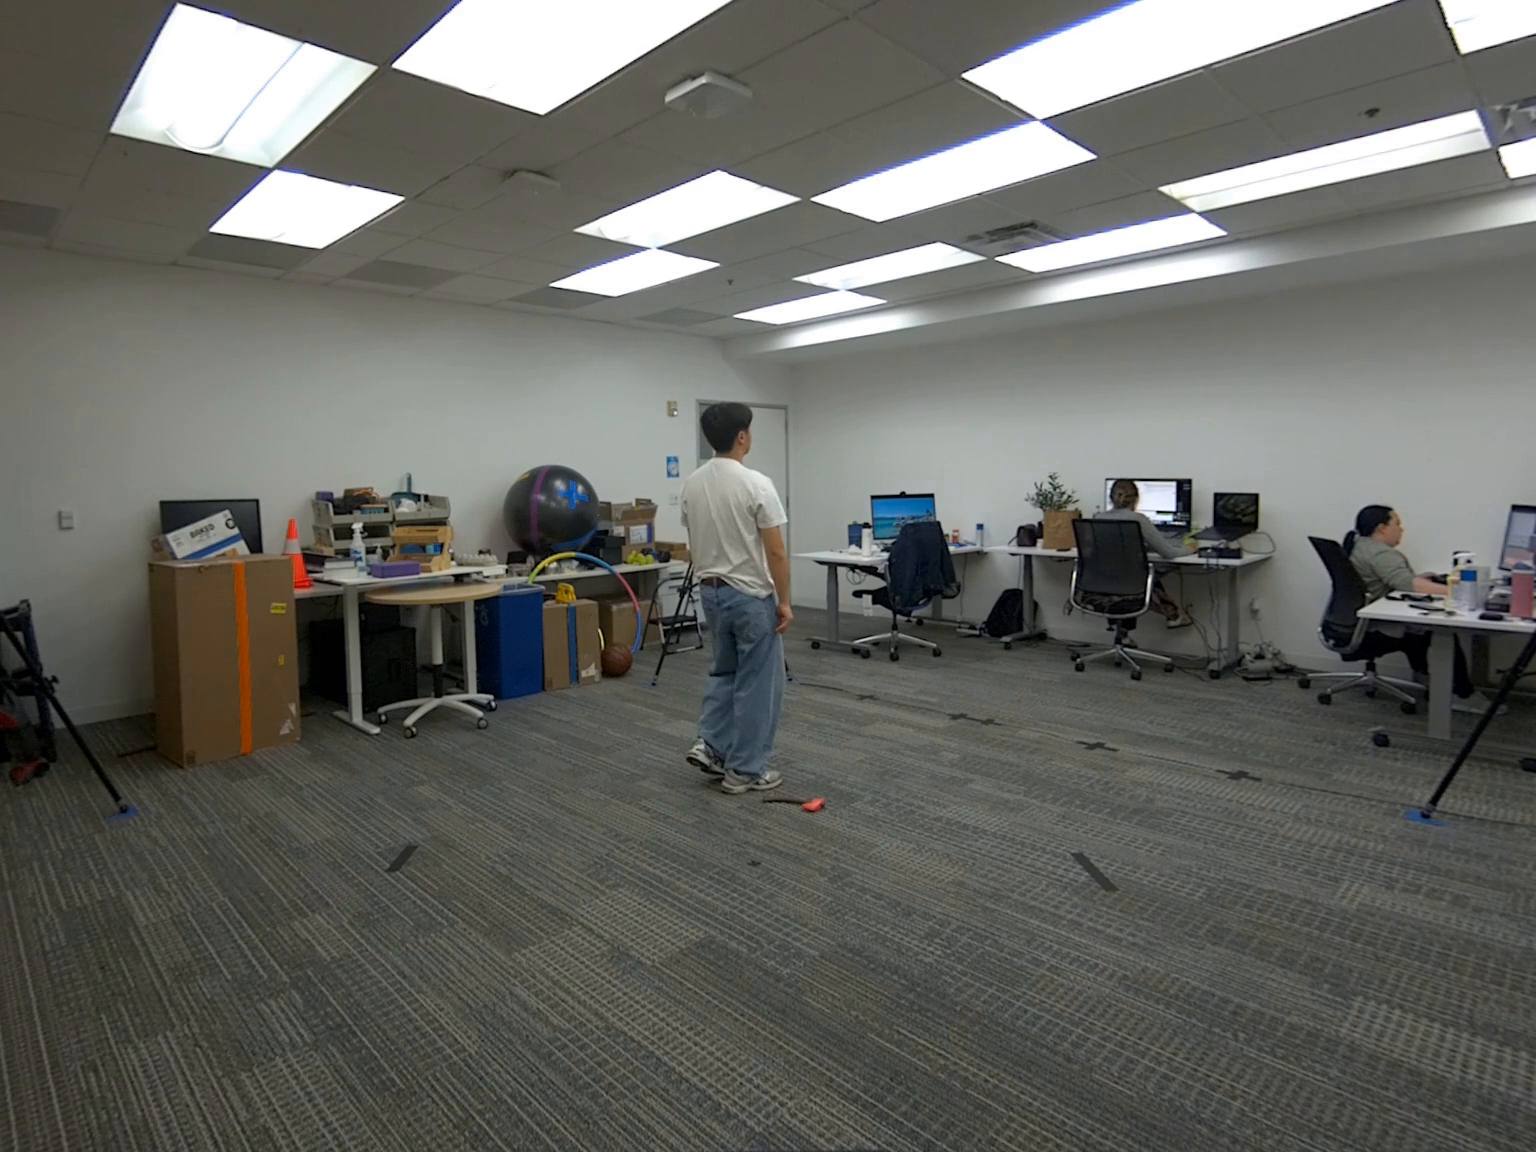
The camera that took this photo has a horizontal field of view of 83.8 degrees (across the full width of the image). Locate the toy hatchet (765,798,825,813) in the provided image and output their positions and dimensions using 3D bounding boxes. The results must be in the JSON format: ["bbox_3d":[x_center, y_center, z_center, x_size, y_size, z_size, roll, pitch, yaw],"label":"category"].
[{"bbox_3d":[0.108,0.973,3.637,0.272,0.029,0.130,-2,6,9],"label":"toy hatchet"}]
